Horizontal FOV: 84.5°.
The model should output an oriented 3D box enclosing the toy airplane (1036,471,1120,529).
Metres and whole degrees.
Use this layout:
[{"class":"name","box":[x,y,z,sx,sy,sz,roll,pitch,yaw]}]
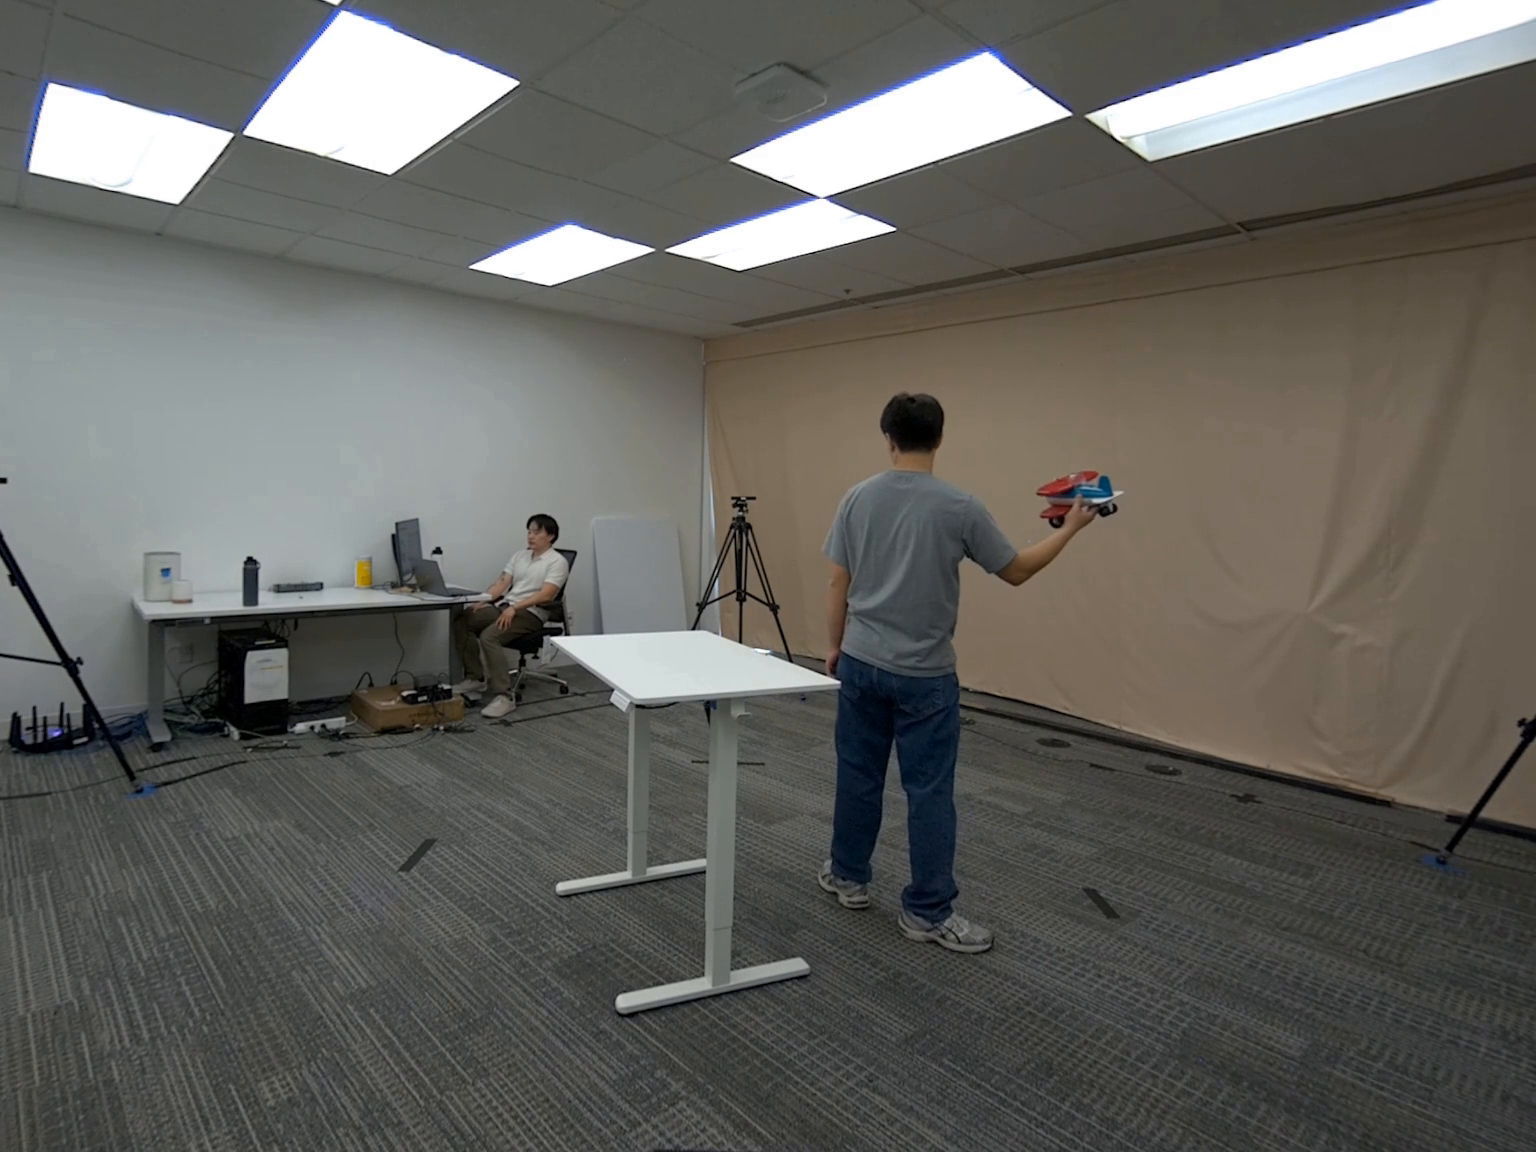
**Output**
[{"class":"toy airplane","box":[1.047,-0.267,2.799,0.263,0.156,0.248,-20,3,35]}]
